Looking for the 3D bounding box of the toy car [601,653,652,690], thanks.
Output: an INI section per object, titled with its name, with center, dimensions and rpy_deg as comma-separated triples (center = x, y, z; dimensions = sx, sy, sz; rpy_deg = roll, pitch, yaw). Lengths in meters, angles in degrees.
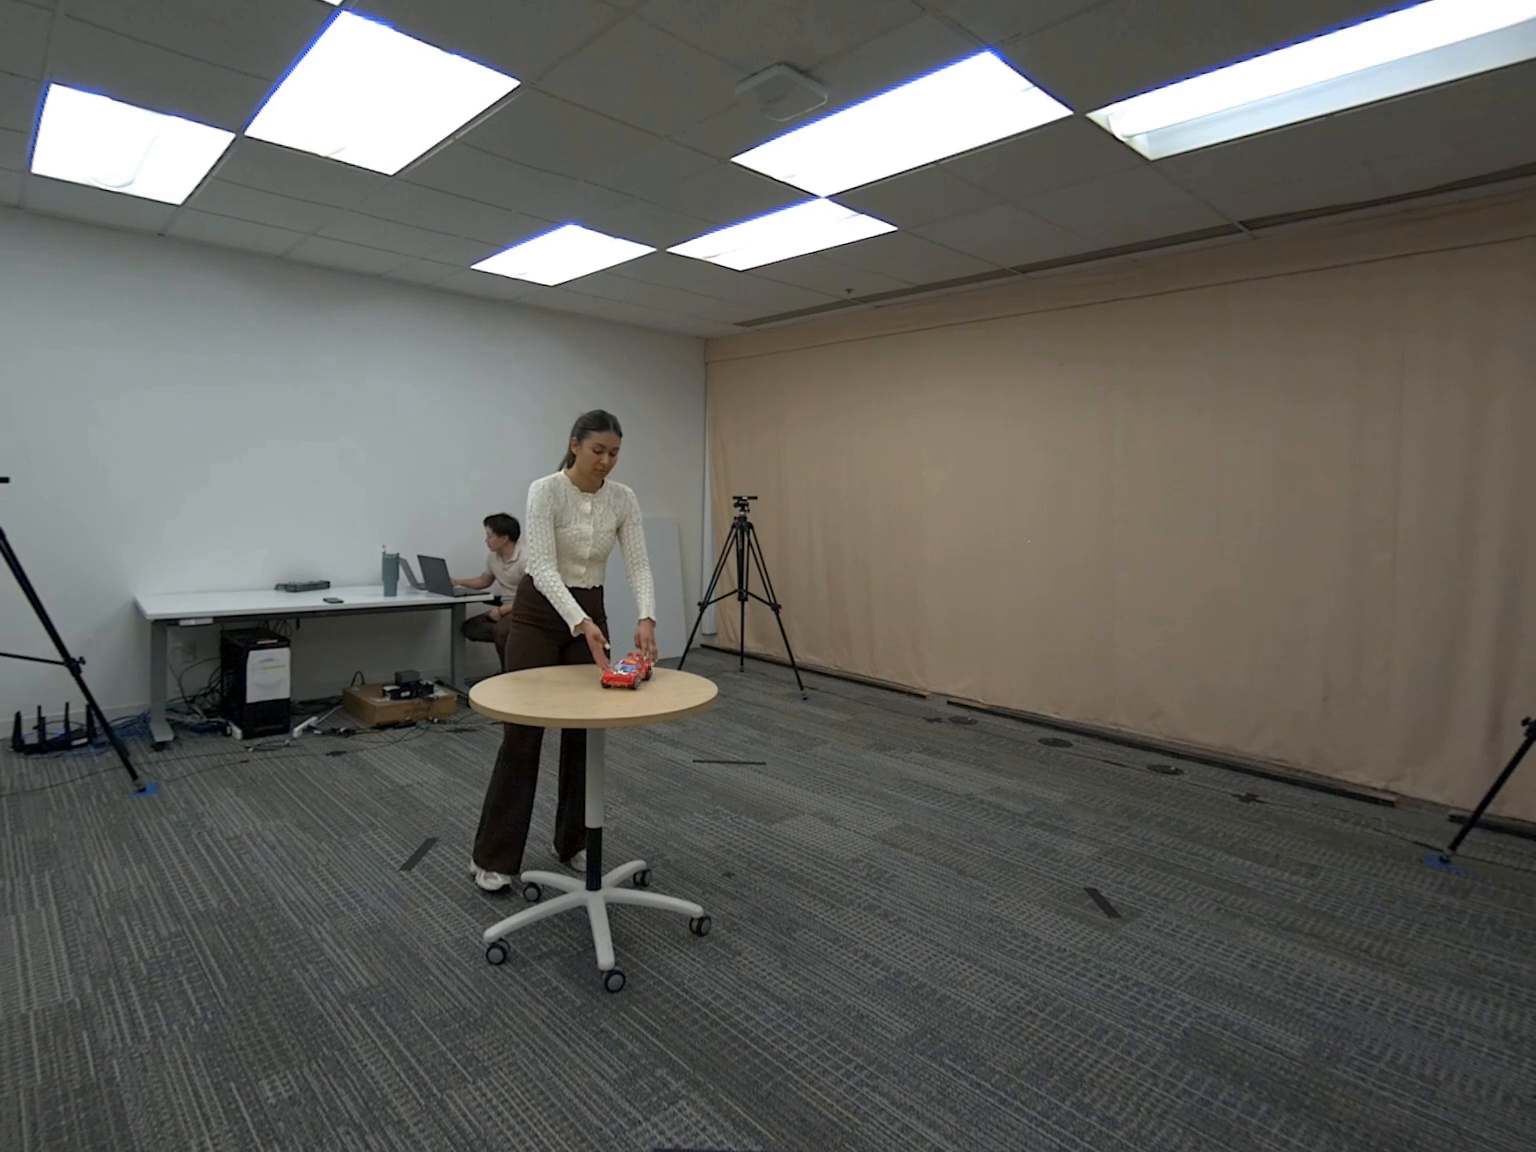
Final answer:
[toy car]
center = -0.459, 0.315, 2.725
dimensions = 0.131, 0.082, 0.255
rpy_deg = 2, 15, 7
